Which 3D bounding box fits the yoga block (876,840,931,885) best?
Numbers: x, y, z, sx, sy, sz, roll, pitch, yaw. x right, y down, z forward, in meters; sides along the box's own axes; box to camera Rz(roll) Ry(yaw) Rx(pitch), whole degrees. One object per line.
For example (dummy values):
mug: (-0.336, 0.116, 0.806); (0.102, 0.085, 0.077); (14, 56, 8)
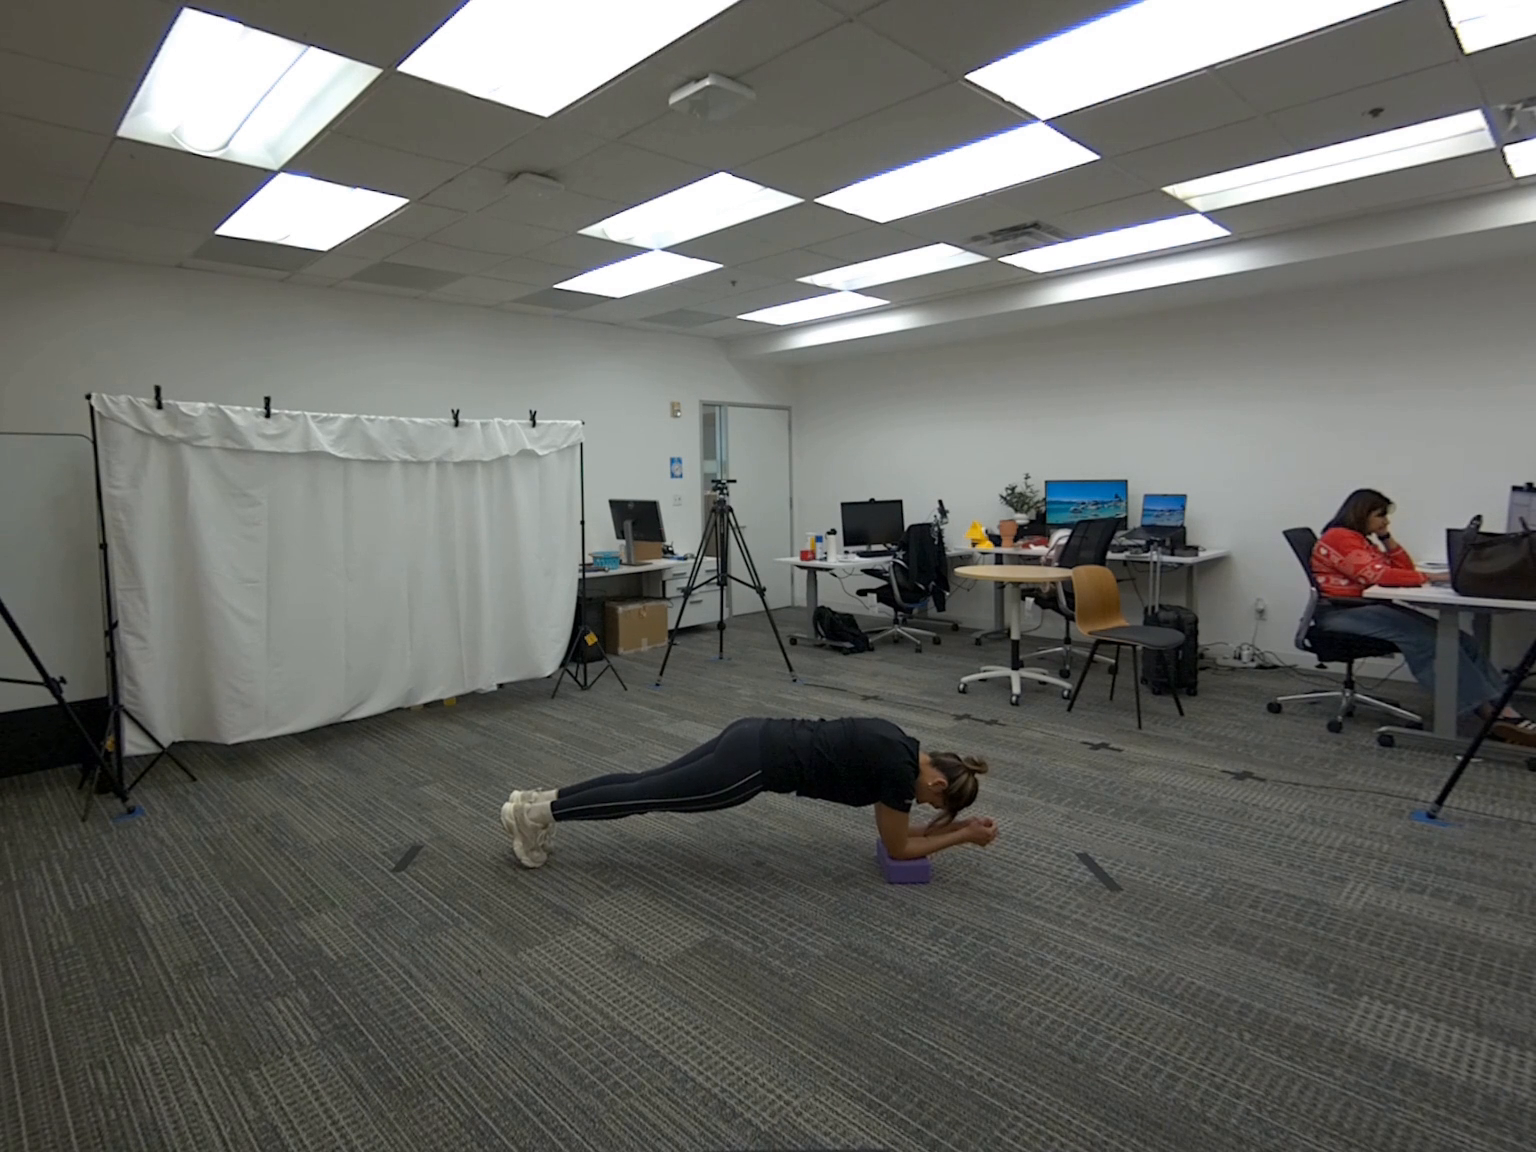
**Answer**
yoga block: (0.478, 0.999, 3.037); (0.149, 0.076, 0.230); (0, 6, 0)
